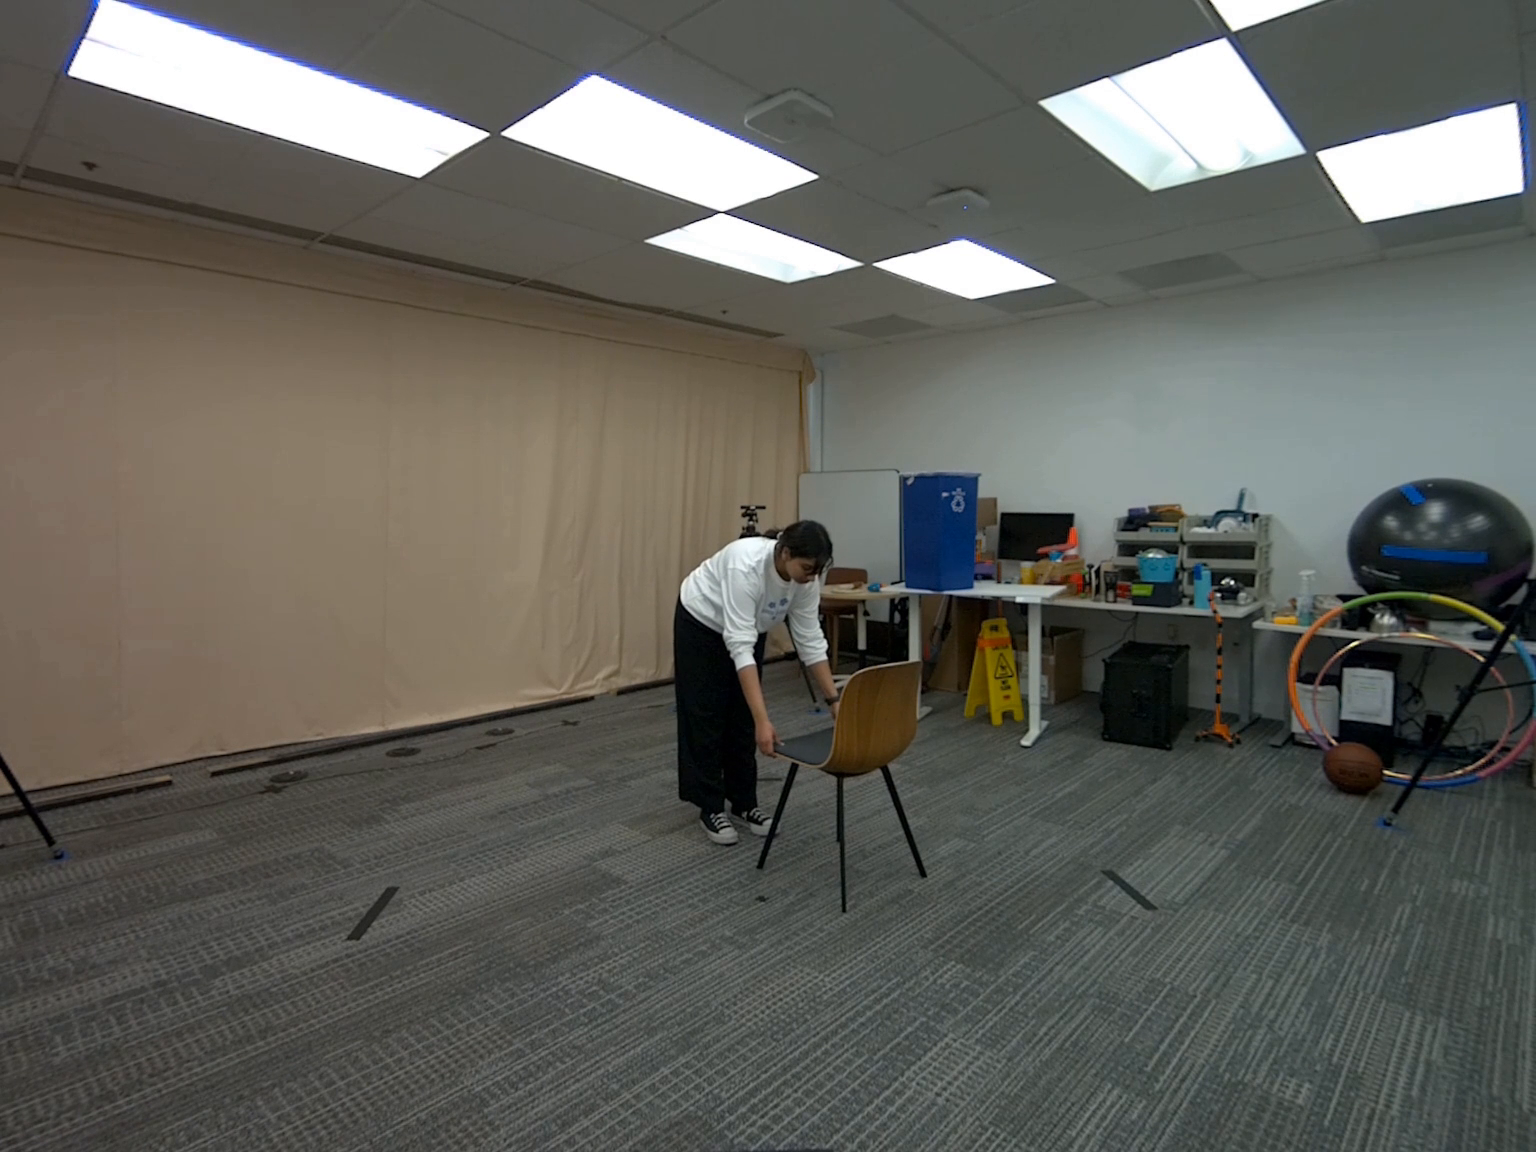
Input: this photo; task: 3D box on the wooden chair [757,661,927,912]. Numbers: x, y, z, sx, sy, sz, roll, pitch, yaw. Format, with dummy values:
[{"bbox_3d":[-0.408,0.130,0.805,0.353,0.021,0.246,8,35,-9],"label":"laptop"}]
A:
[{"bbox_3d":[0.277,0.697,3.163,0.463,0.874,0.541,-3,9,-40],"label":"wooden chair"}]
